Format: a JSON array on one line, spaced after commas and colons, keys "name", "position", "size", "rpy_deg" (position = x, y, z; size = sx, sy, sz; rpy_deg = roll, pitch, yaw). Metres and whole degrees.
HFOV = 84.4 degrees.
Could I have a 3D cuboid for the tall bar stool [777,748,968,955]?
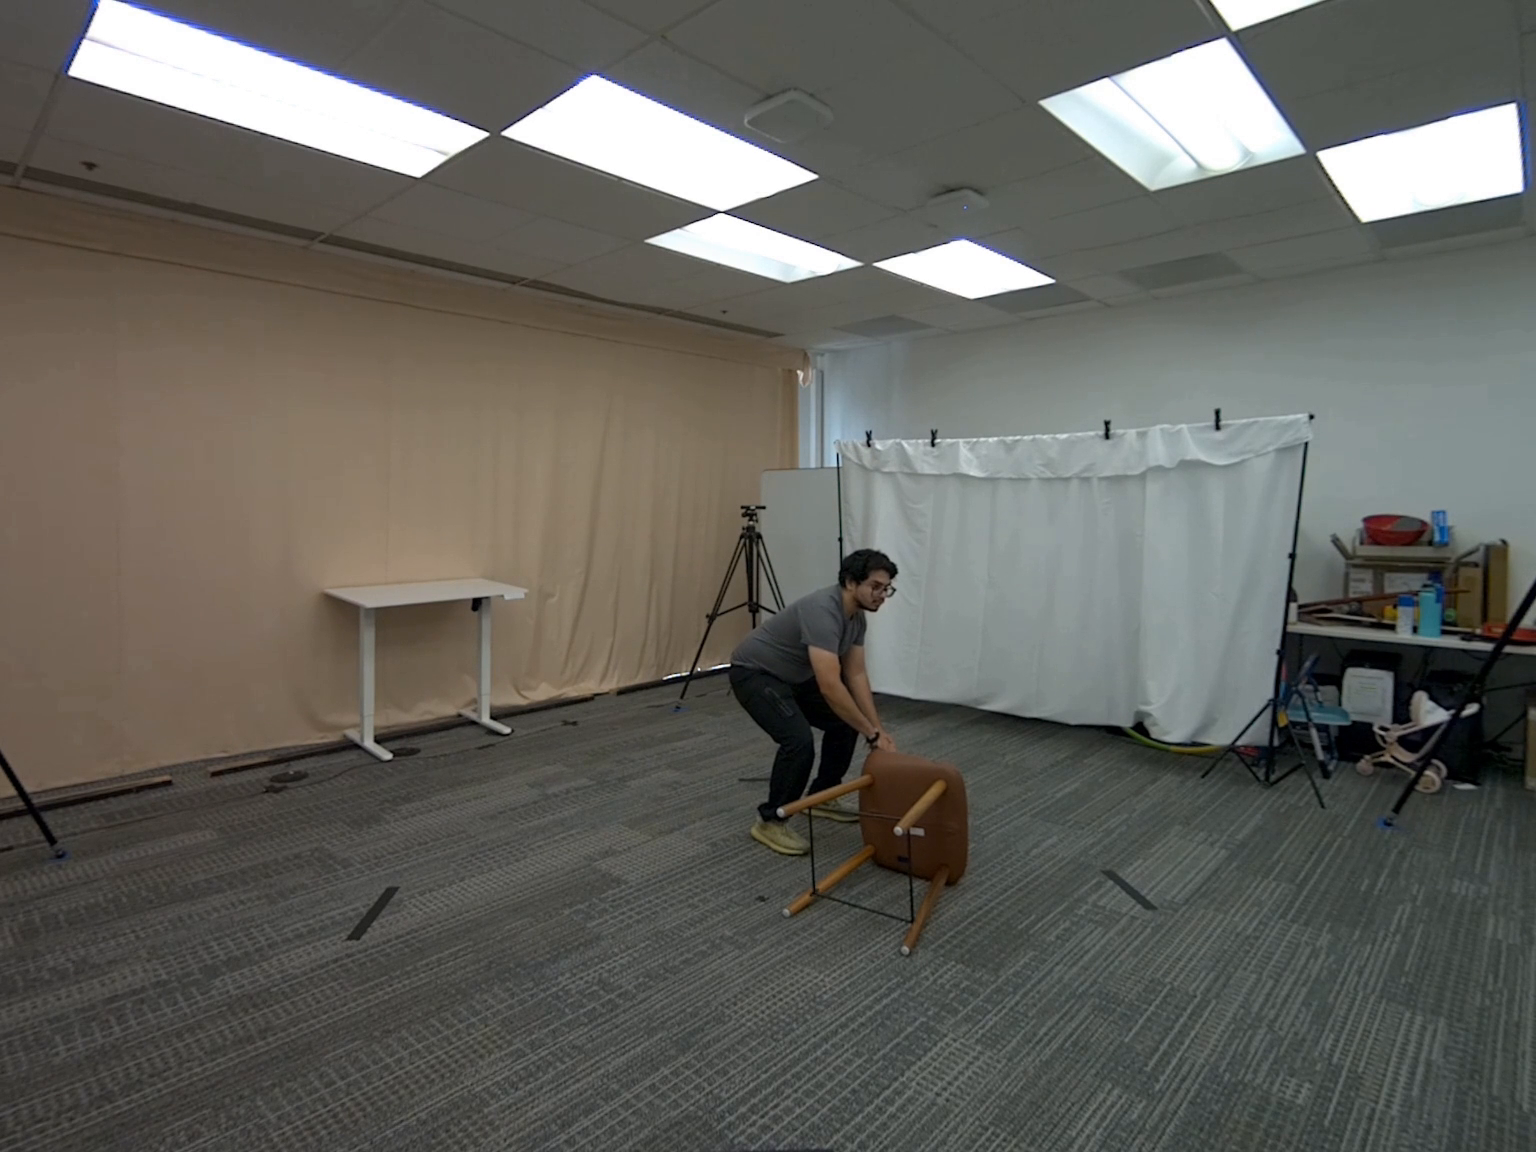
[{"name": "tall bar stool", "position": [0.457, 0.920, 3.065], "size": [0.481, 0.455, 0.867], "rpy_deg": [0, 6, 31]}]
